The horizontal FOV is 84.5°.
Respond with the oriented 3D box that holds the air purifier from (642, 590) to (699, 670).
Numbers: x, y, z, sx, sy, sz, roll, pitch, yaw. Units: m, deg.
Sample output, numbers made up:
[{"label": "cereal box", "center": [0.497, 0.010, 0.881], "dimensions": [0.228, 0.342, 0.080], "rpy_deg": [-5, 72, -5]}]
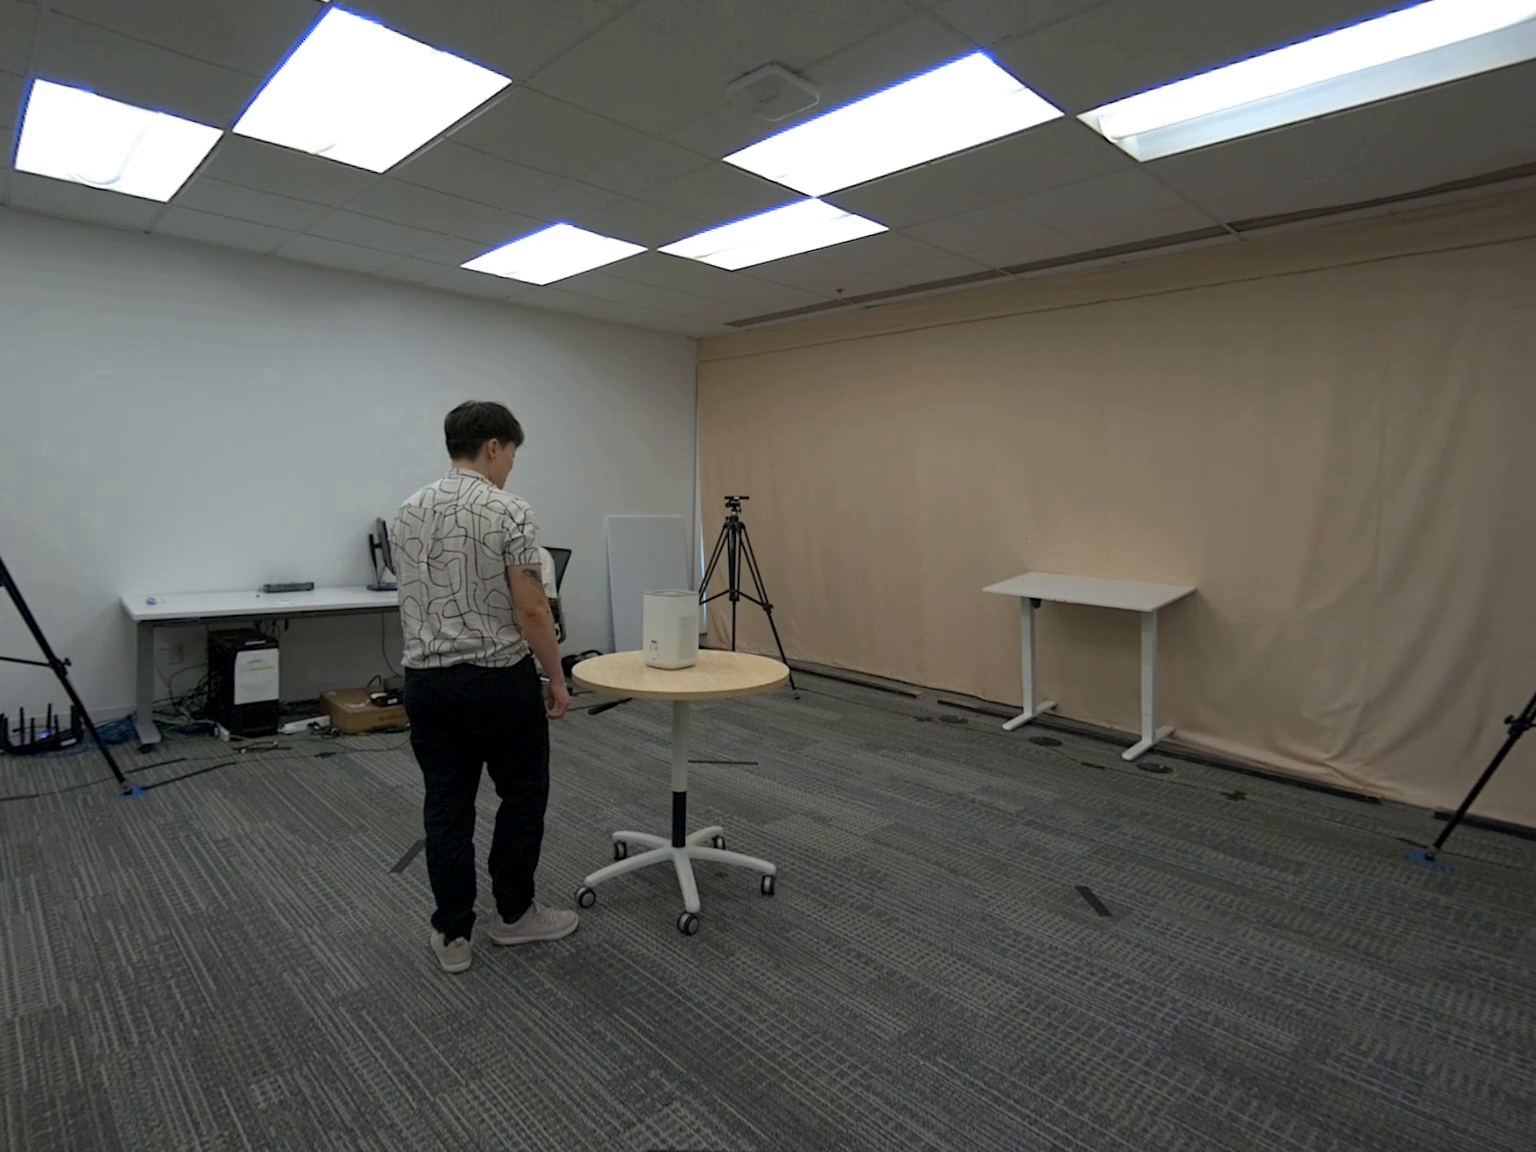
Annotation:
[{"label": "air purifier", "center": [-0.354, 0.191, 3.019], "dimensions": [0.175, 0.265, 0.168], "rpy_deg": [4, 4, 36]}]
